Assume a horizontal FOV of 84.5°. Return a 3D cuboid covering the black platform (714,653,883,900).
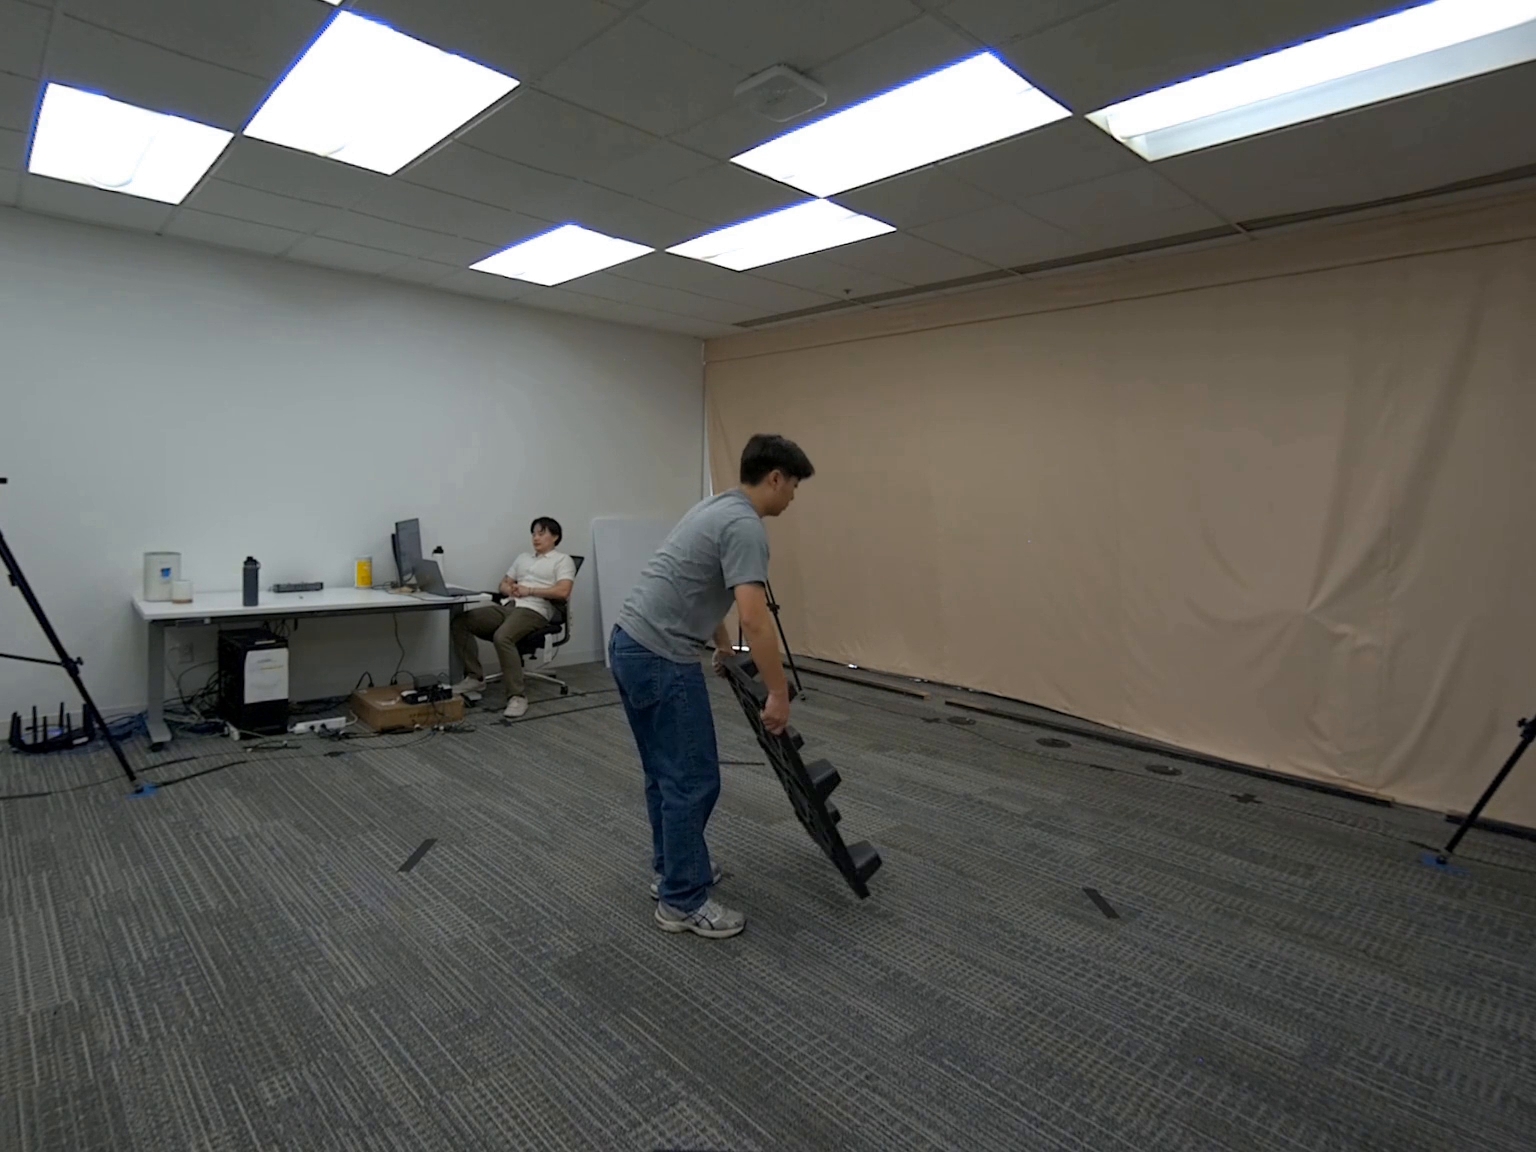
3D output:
[{"bbox_3d":[0.101,0.668,2.980,0.143,0.795,0.615,-28,14,-10],"label":"black platform"}]
